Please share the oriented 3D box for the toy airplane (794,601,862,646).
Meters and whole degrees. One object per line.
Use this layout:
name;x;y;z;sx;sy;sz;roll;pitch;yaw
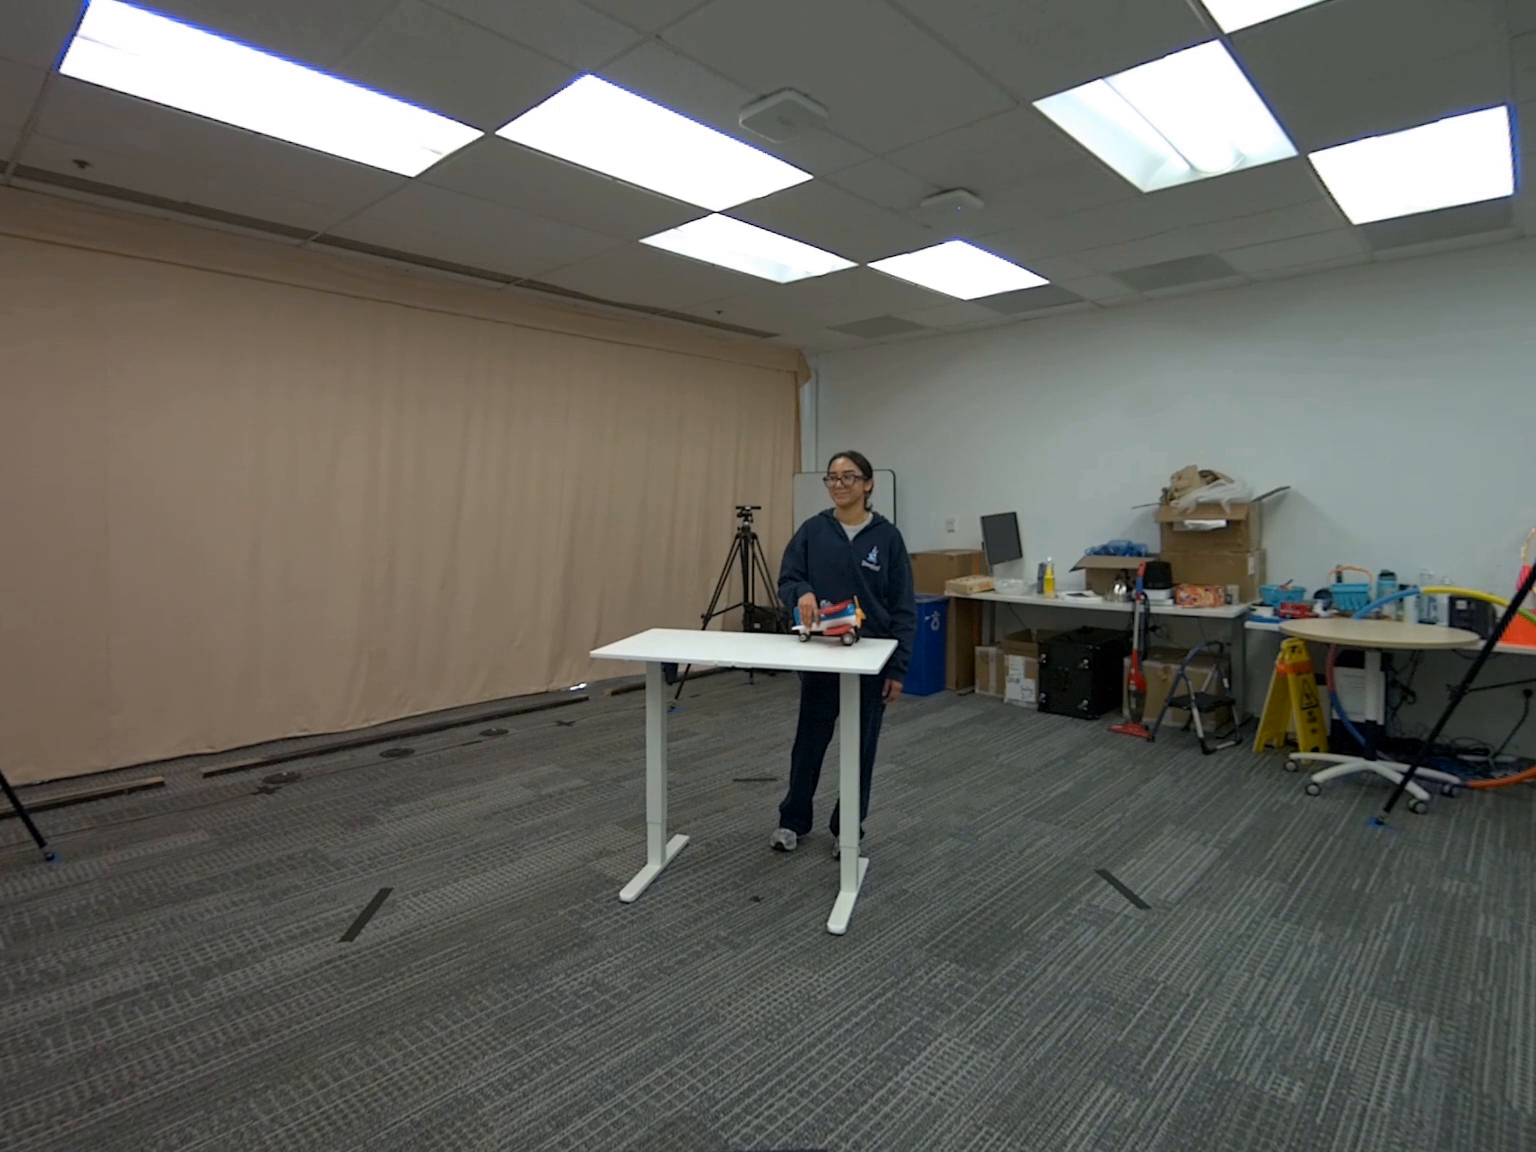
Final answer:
toy airplane;0.236;0.168;3.114;0.257;0.156;0.253;1;4;-7
